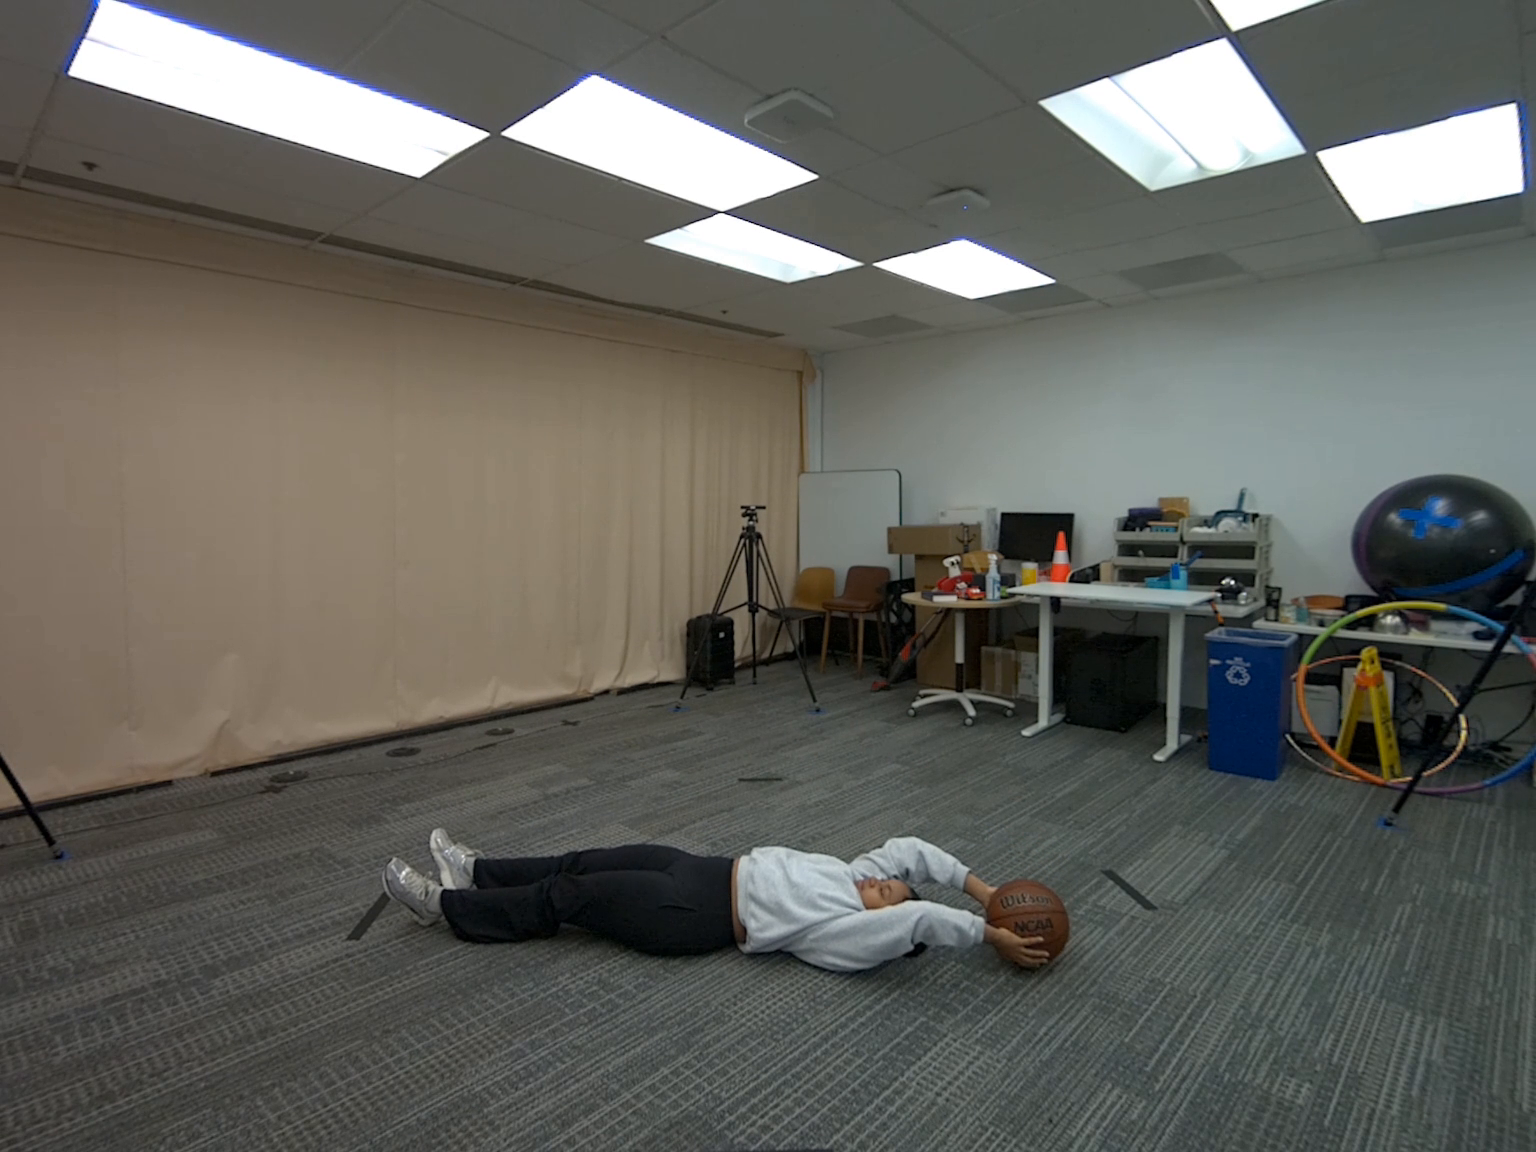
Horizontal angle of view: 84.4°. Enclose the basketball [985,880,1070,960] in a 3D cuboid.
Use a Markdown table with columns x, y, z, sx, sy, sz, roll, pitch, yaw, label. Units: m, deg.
| x | y | z | sx | sy | sz | roll | pitch | yaw | label |
| --- | --- | --- | --- | --- | --- | --- | --- | --- | --- |
| 0.800 | 1.053 | 2.577 | 0.235 | 0.235 | 0.237 | 1 | 4 | -2 | basketball |
